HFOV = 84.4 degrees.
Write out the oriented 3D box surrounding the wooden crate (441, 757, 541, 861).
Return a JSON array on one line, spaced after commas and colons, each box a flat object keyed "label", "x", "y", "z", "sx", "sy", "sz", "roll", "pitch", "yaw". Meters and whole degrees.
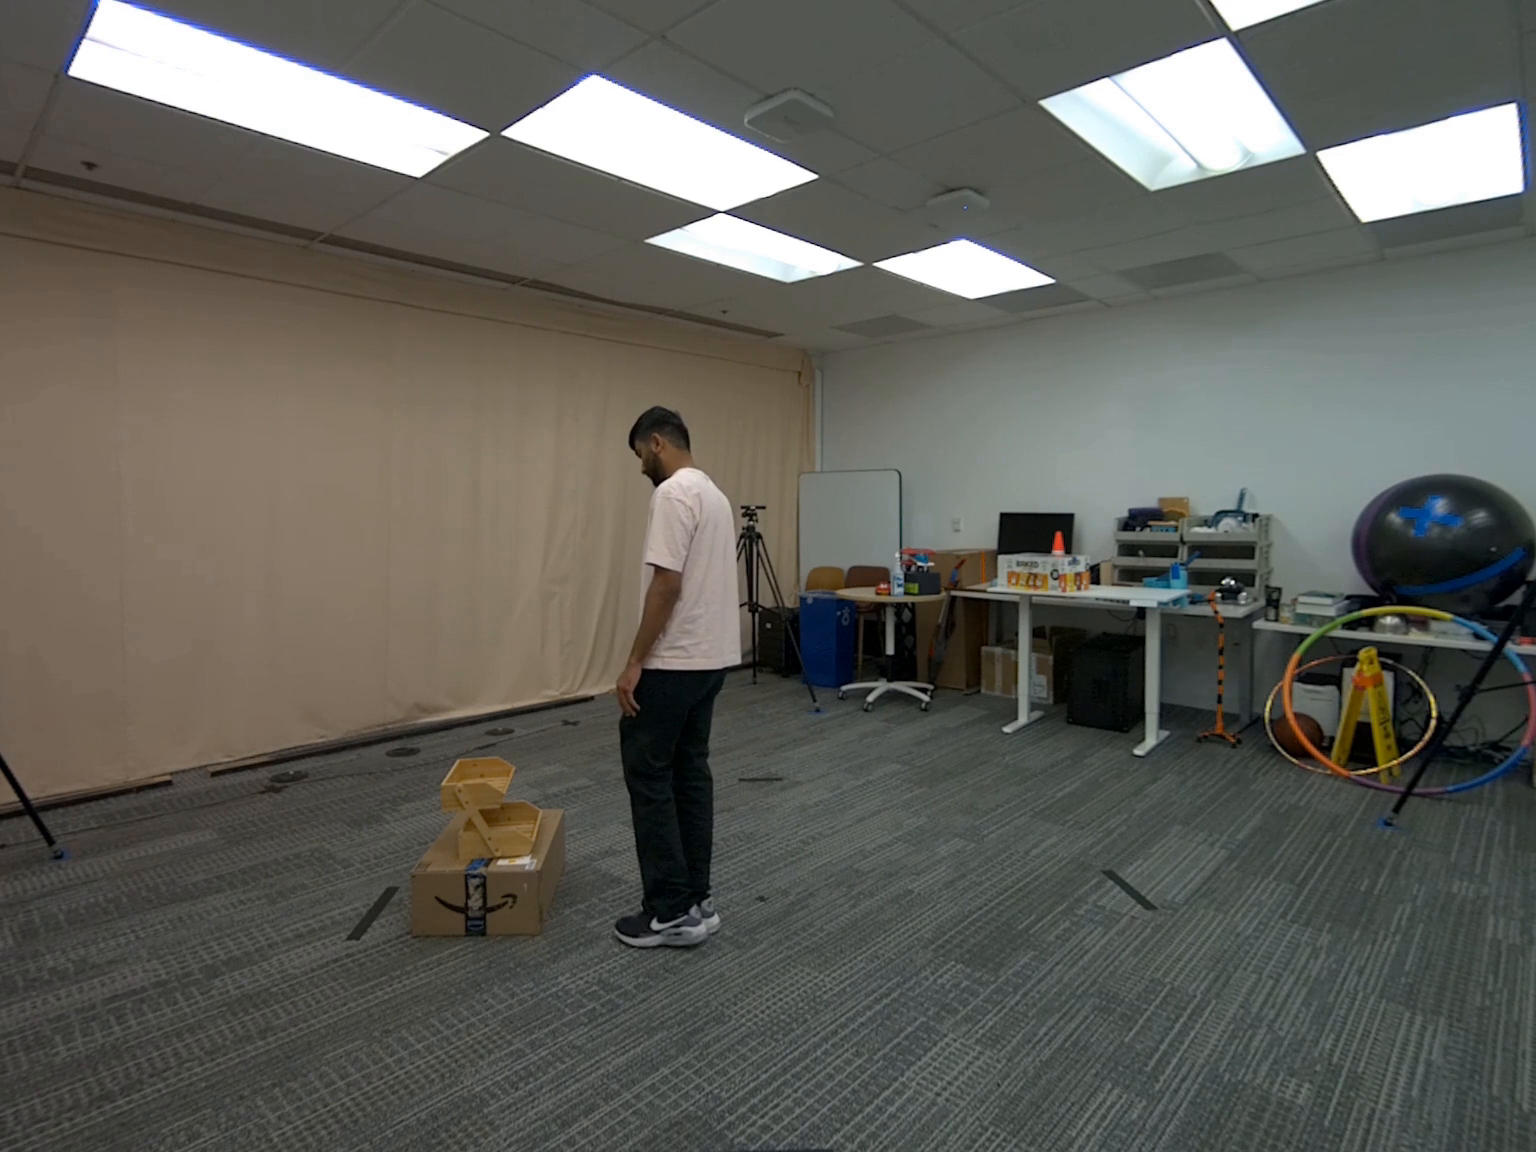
[{"label": "wooden crate", "x": -0.975, "y": 0.812, "z": 2.983, "sx": 0.299, "sy": 0.273, "sz": 0.328, "roll": -3, "pitch": 3, "yaw": -9}]
